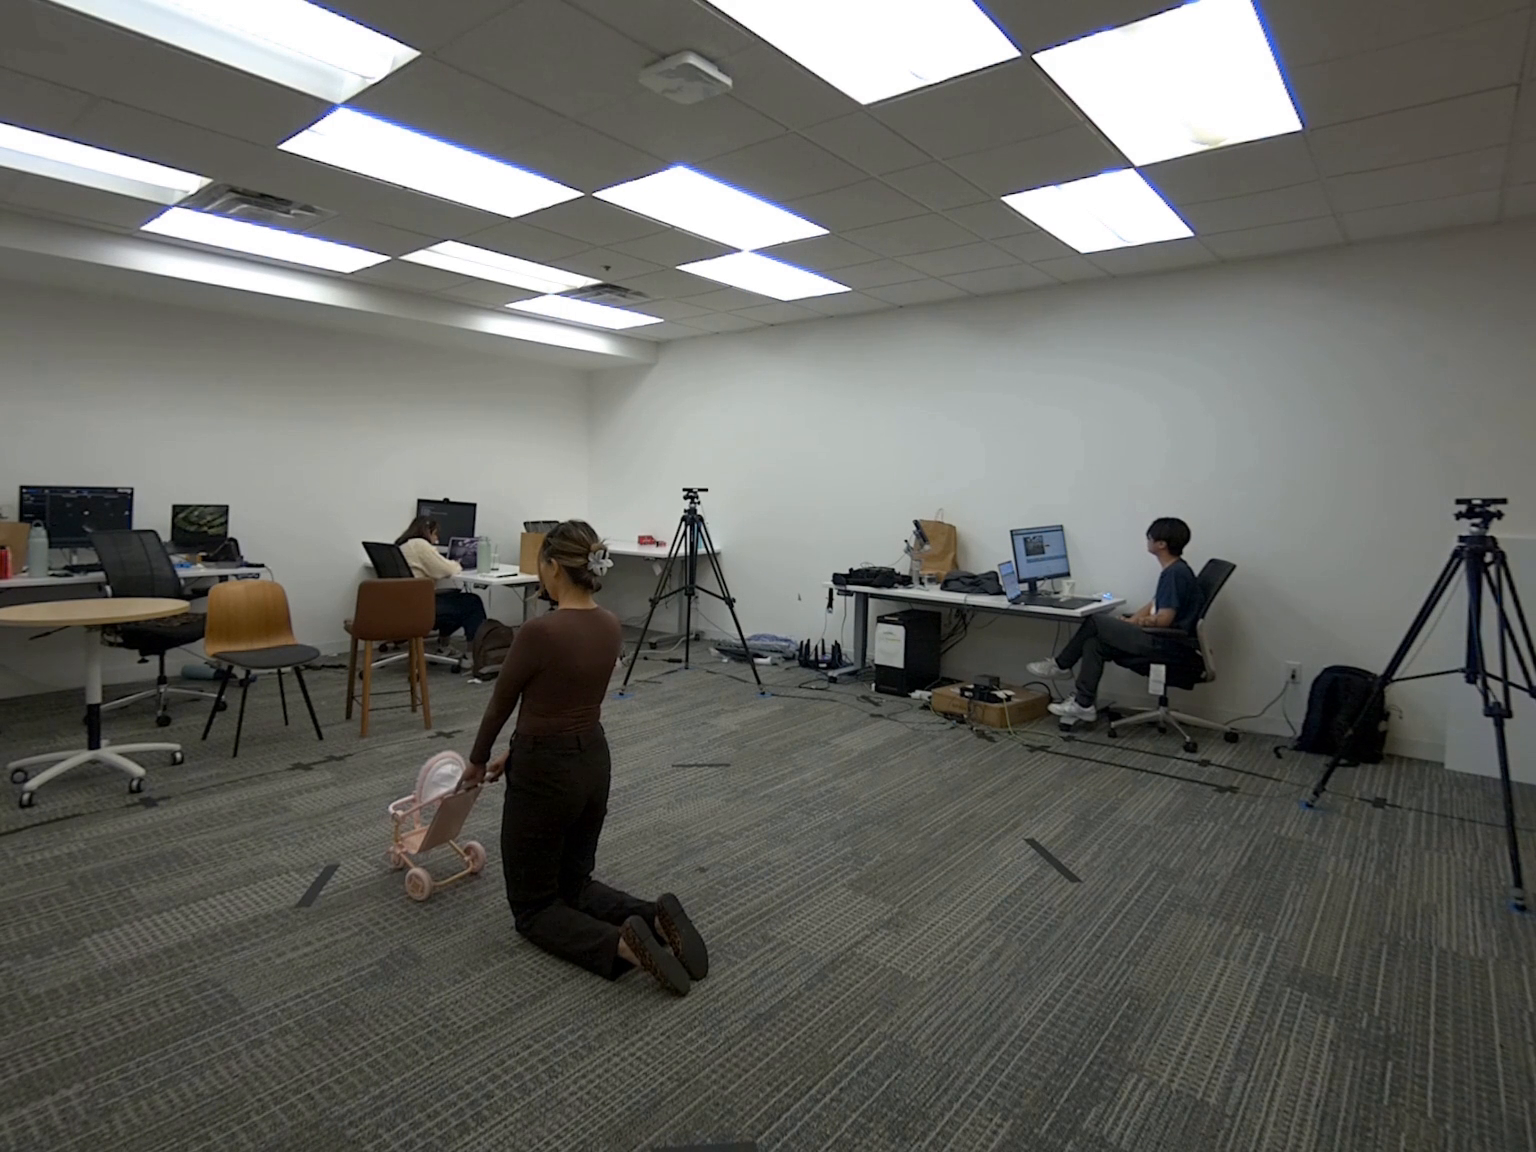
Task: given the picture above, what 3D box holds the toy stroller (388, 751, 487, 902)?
[{"bbox_3d":[-1.170,0.845,2.970,0.354,0.531,0.273,24,15,30],"label":"toy stroller"}]
